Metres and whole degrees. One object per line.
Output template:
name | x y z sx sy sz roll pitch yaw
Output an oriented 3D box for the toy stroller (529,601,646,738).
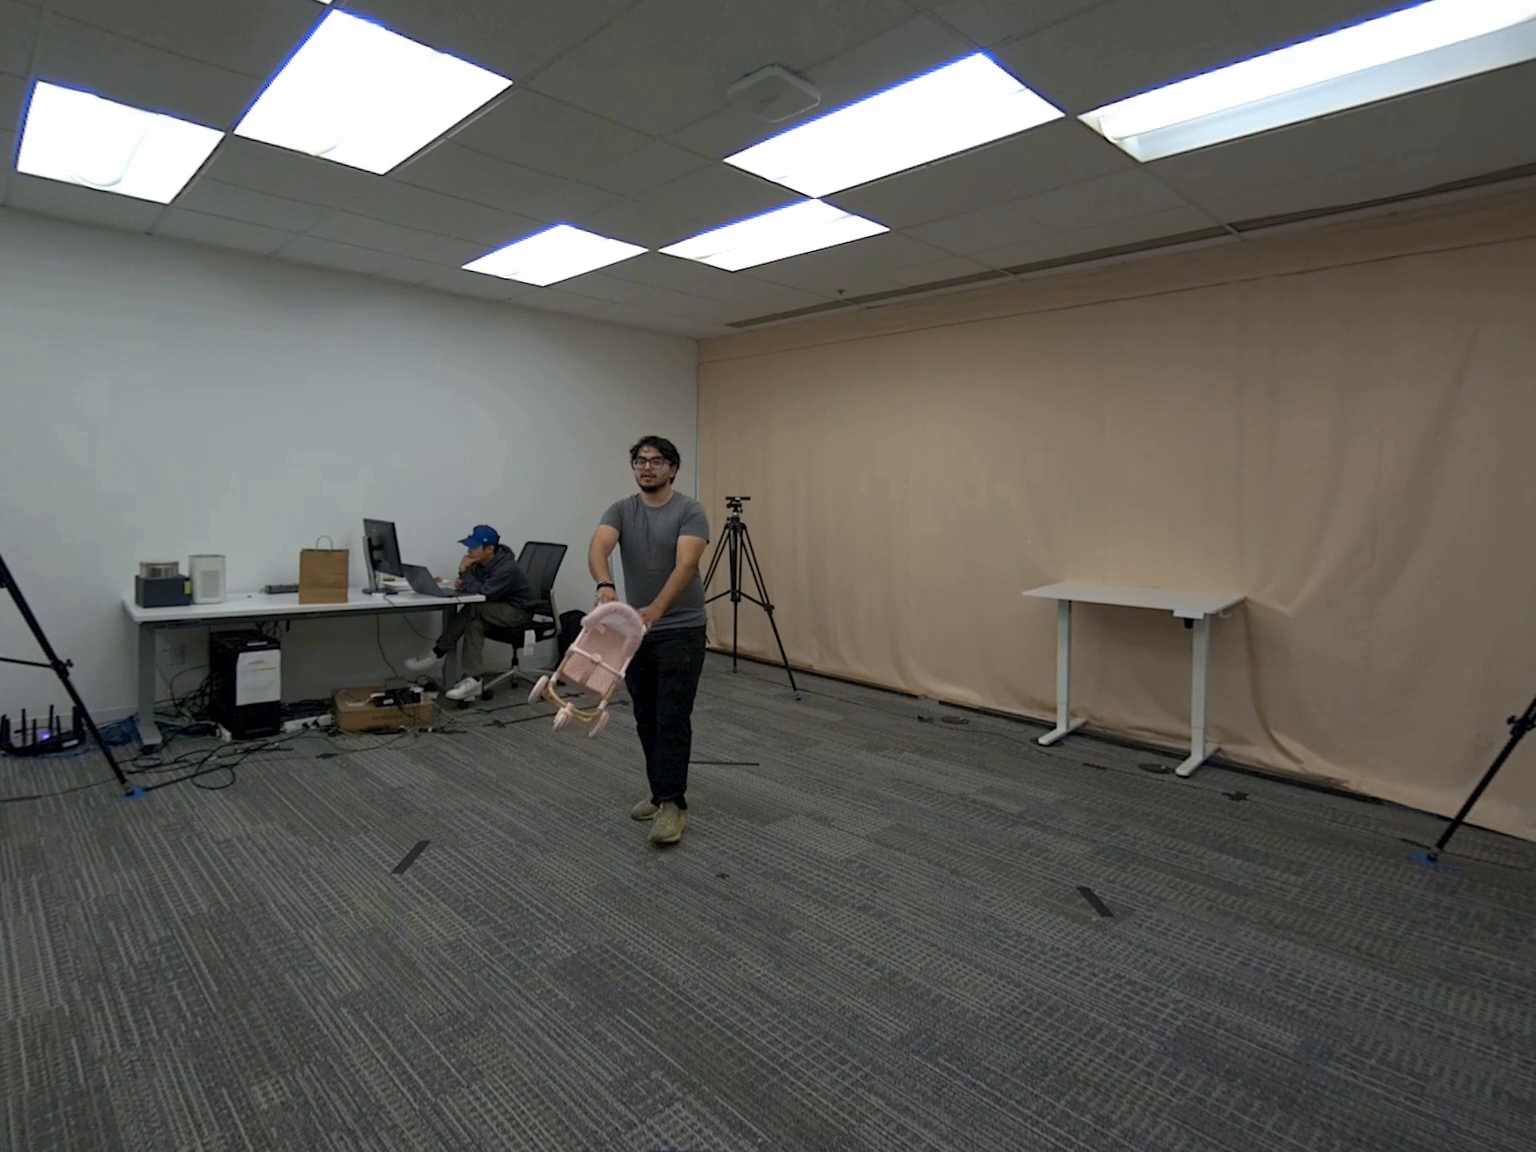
toy stroller | -0.623 0.321 2.937 0.281 0.538 0.340 30 -21 -2
